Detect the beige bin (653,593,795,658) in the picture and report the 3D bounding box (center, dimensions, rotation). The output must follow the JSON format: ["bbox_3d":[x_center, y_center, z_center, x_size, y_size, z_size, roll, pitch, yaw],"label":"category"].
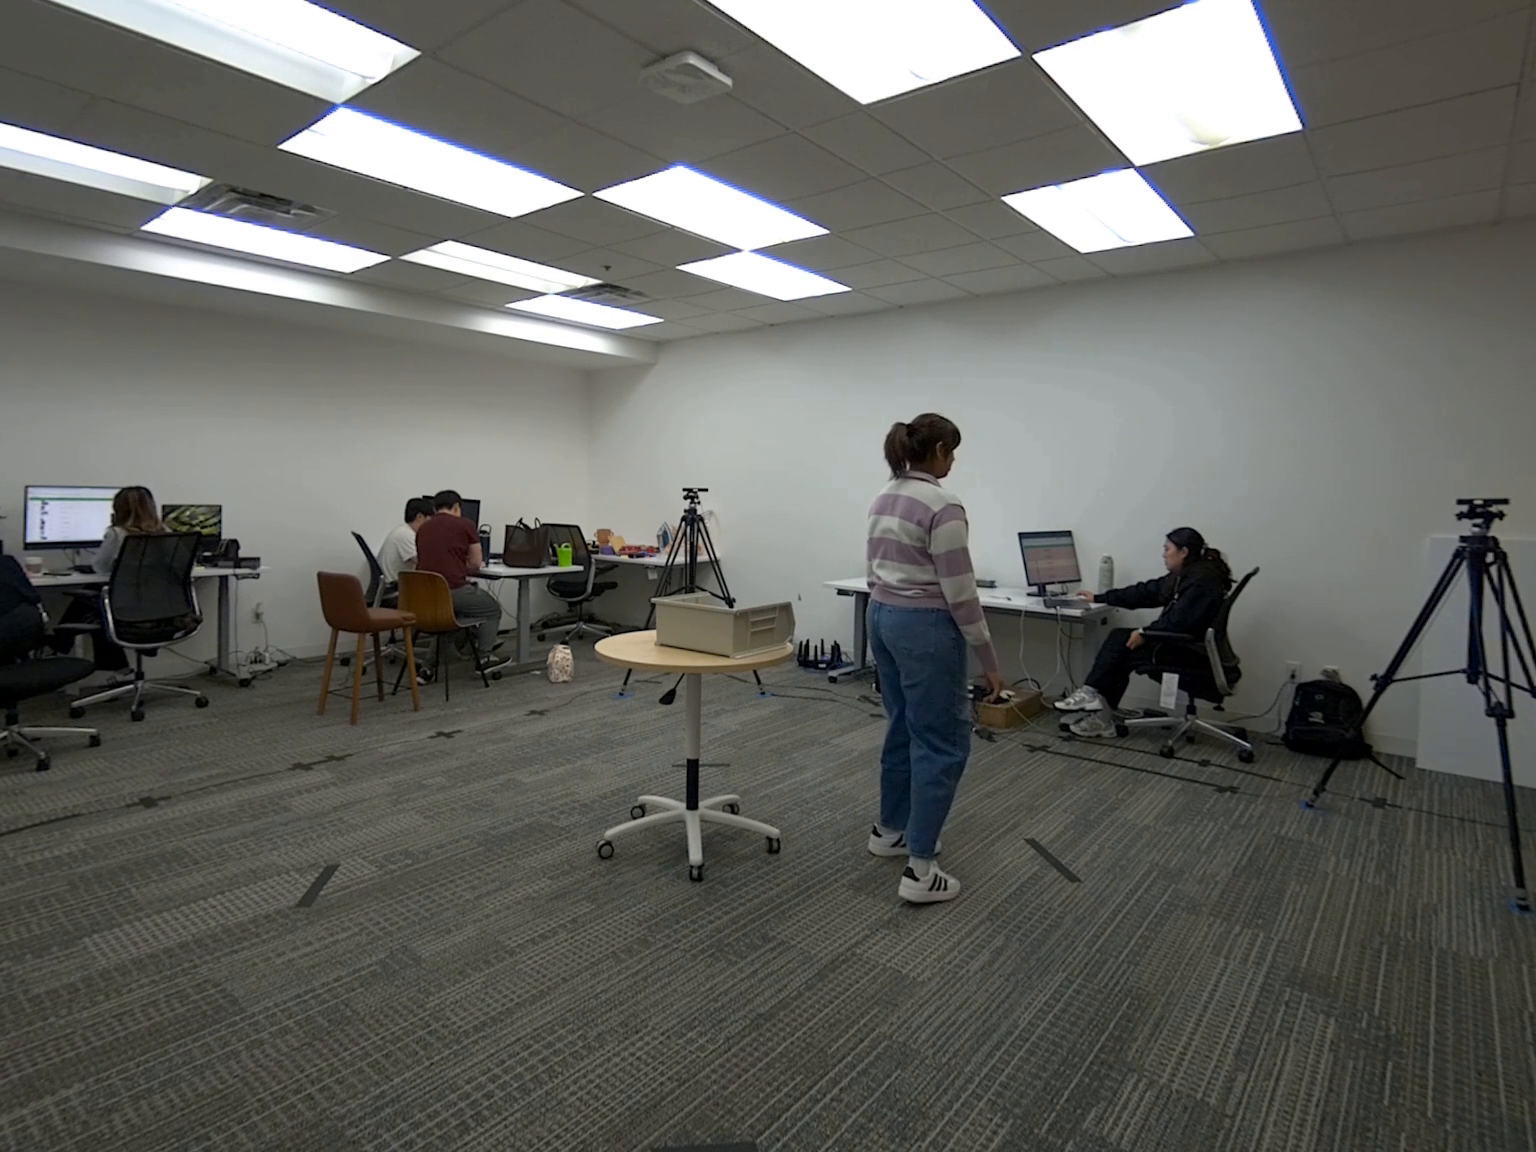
[{"bbox_3d":[-0.185,0.180,3.298,0.436,0.188,0.367,6,8,38],"label":"beige bin"}]
